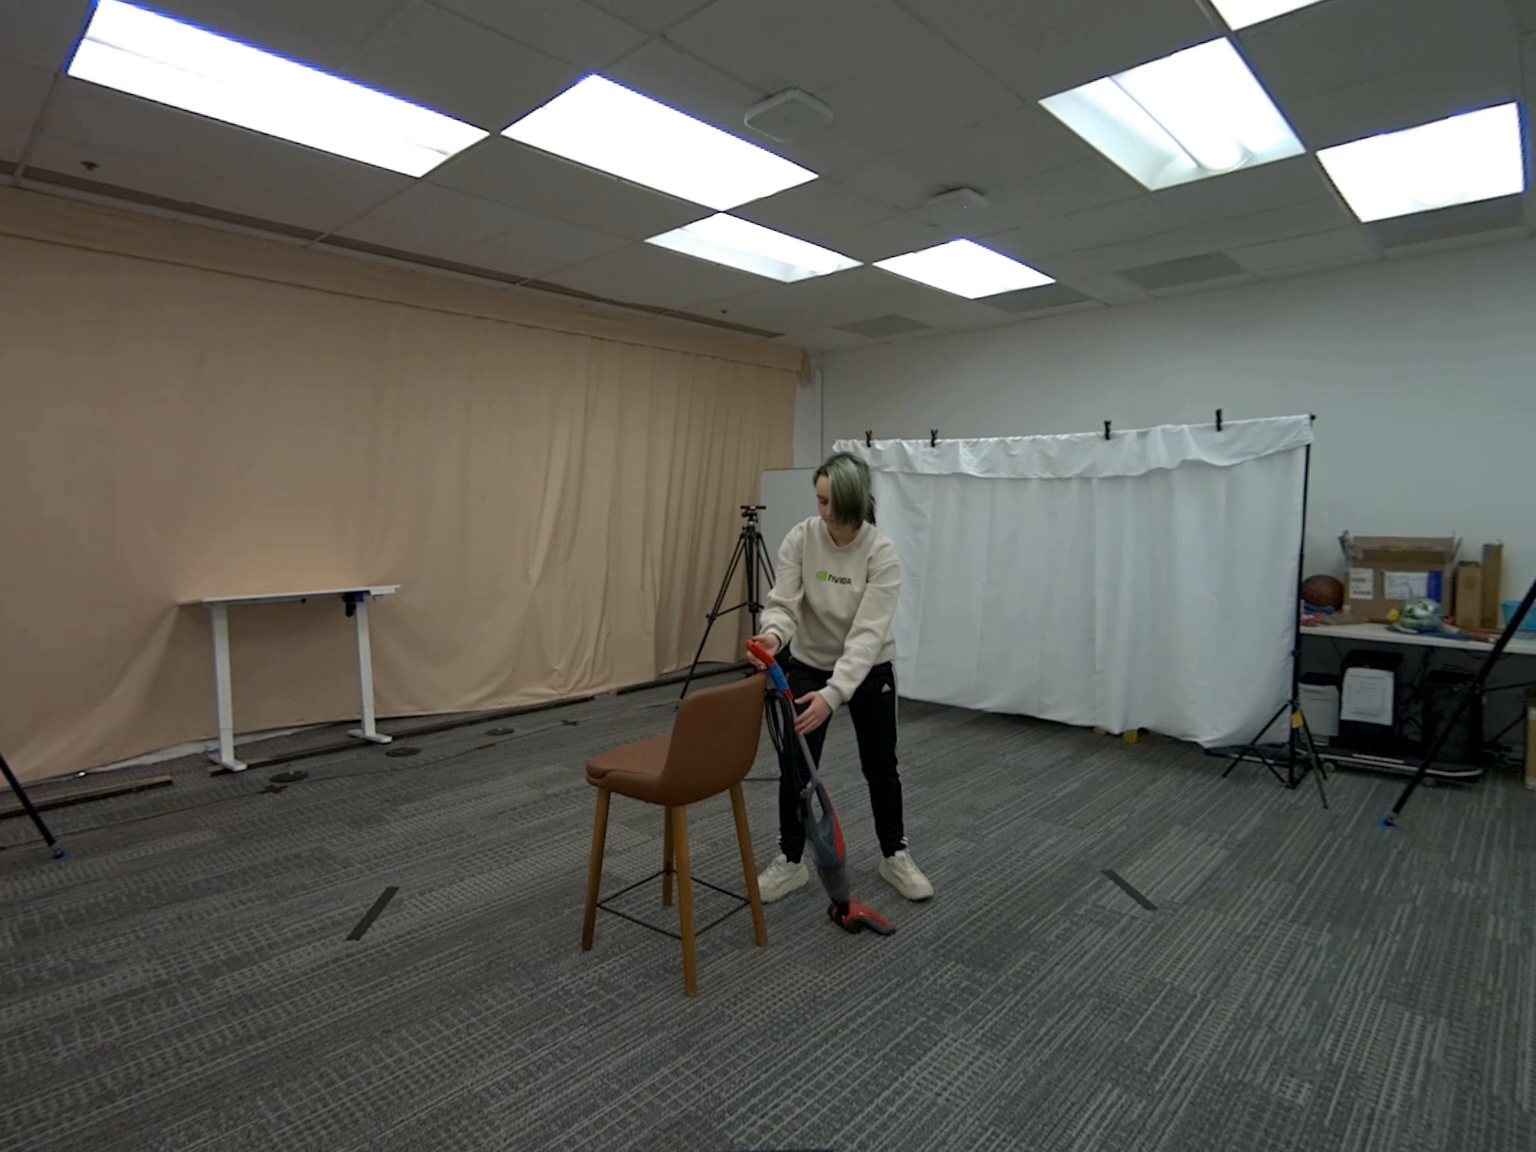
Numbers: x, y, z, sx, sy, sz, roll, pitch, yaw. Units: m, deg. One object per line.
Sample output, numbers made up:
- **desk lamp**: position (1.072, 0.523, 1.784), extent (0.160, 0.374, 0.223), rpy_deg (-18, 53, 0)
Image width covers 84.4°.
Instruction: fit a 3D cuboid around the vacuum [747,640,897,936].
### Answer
- **vacuum**: position (0.132, 0.683, 2.695), extent (0.141, 1.036, 0.260), rpy_deg (-27, 15, -30)
